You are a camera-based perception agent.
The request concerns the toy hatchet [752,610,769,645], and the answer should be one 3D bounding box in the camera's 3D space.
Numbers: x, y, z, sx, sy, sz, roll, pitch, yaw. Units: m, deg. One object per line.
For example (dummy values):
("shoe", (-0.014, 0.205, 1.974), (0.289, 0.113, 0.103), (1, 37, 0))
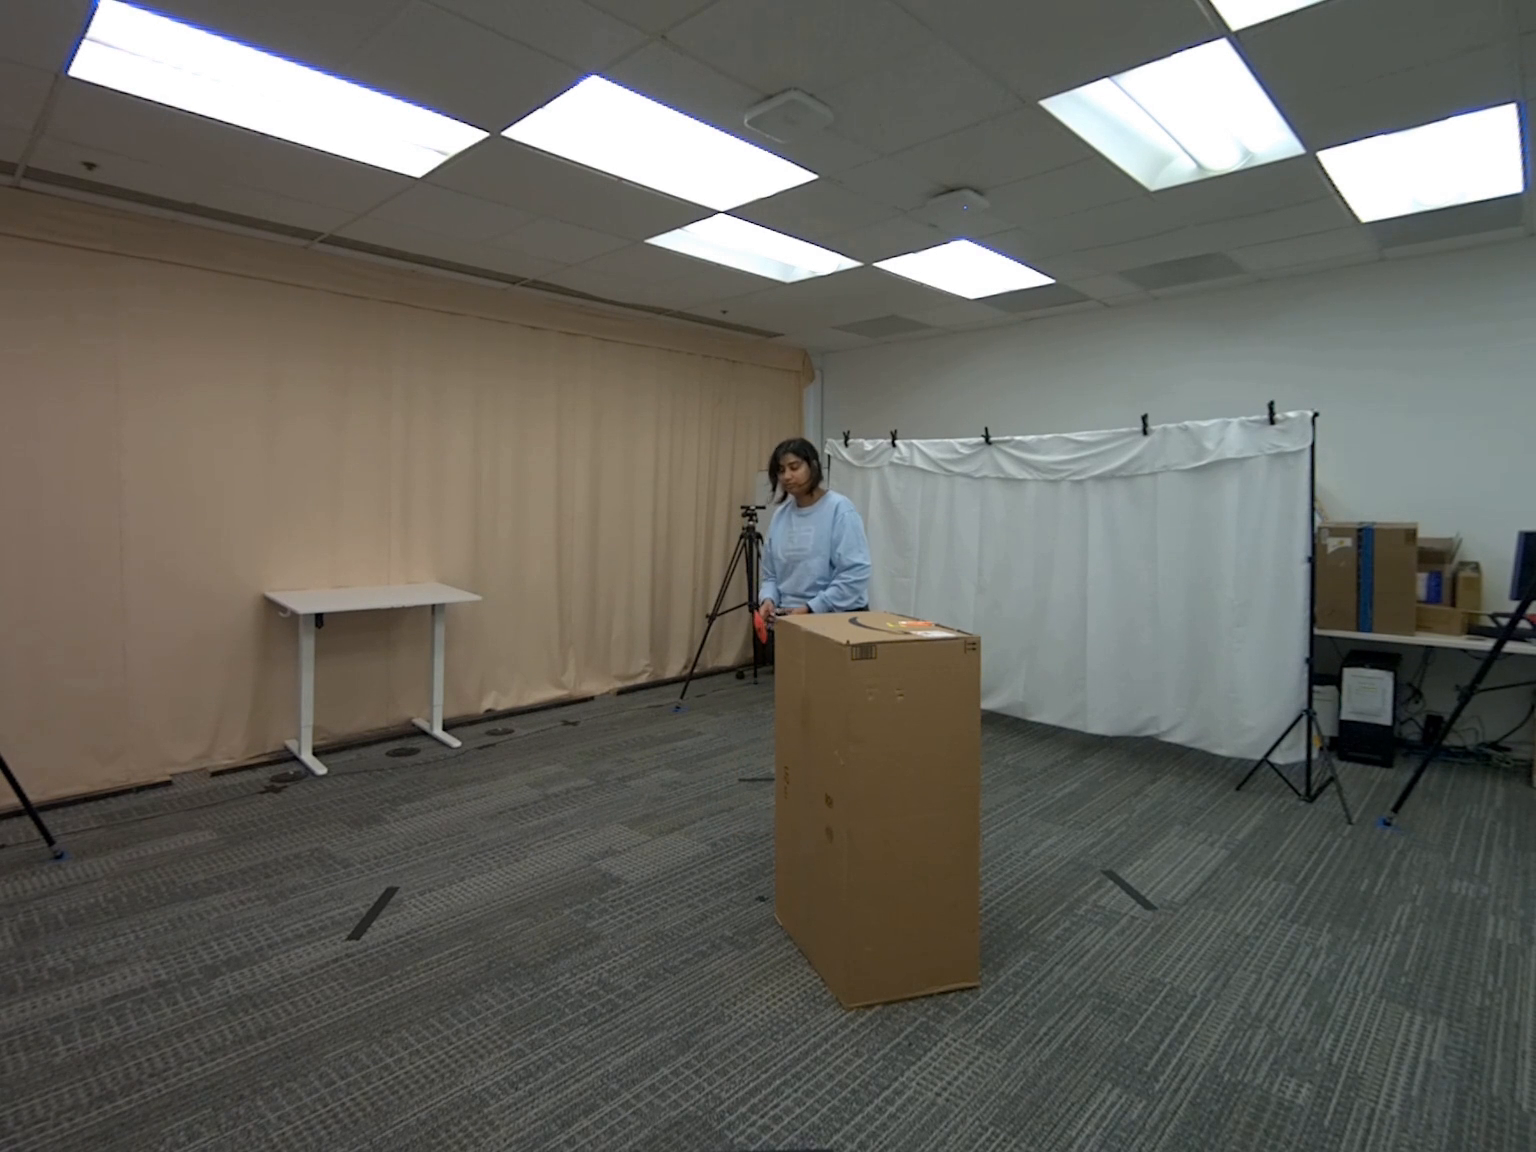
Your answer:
("toy hatchet", (-0.004, 0.201, 3.409), (0.030, 0.131, 0.266), (-11, -4, 12))
